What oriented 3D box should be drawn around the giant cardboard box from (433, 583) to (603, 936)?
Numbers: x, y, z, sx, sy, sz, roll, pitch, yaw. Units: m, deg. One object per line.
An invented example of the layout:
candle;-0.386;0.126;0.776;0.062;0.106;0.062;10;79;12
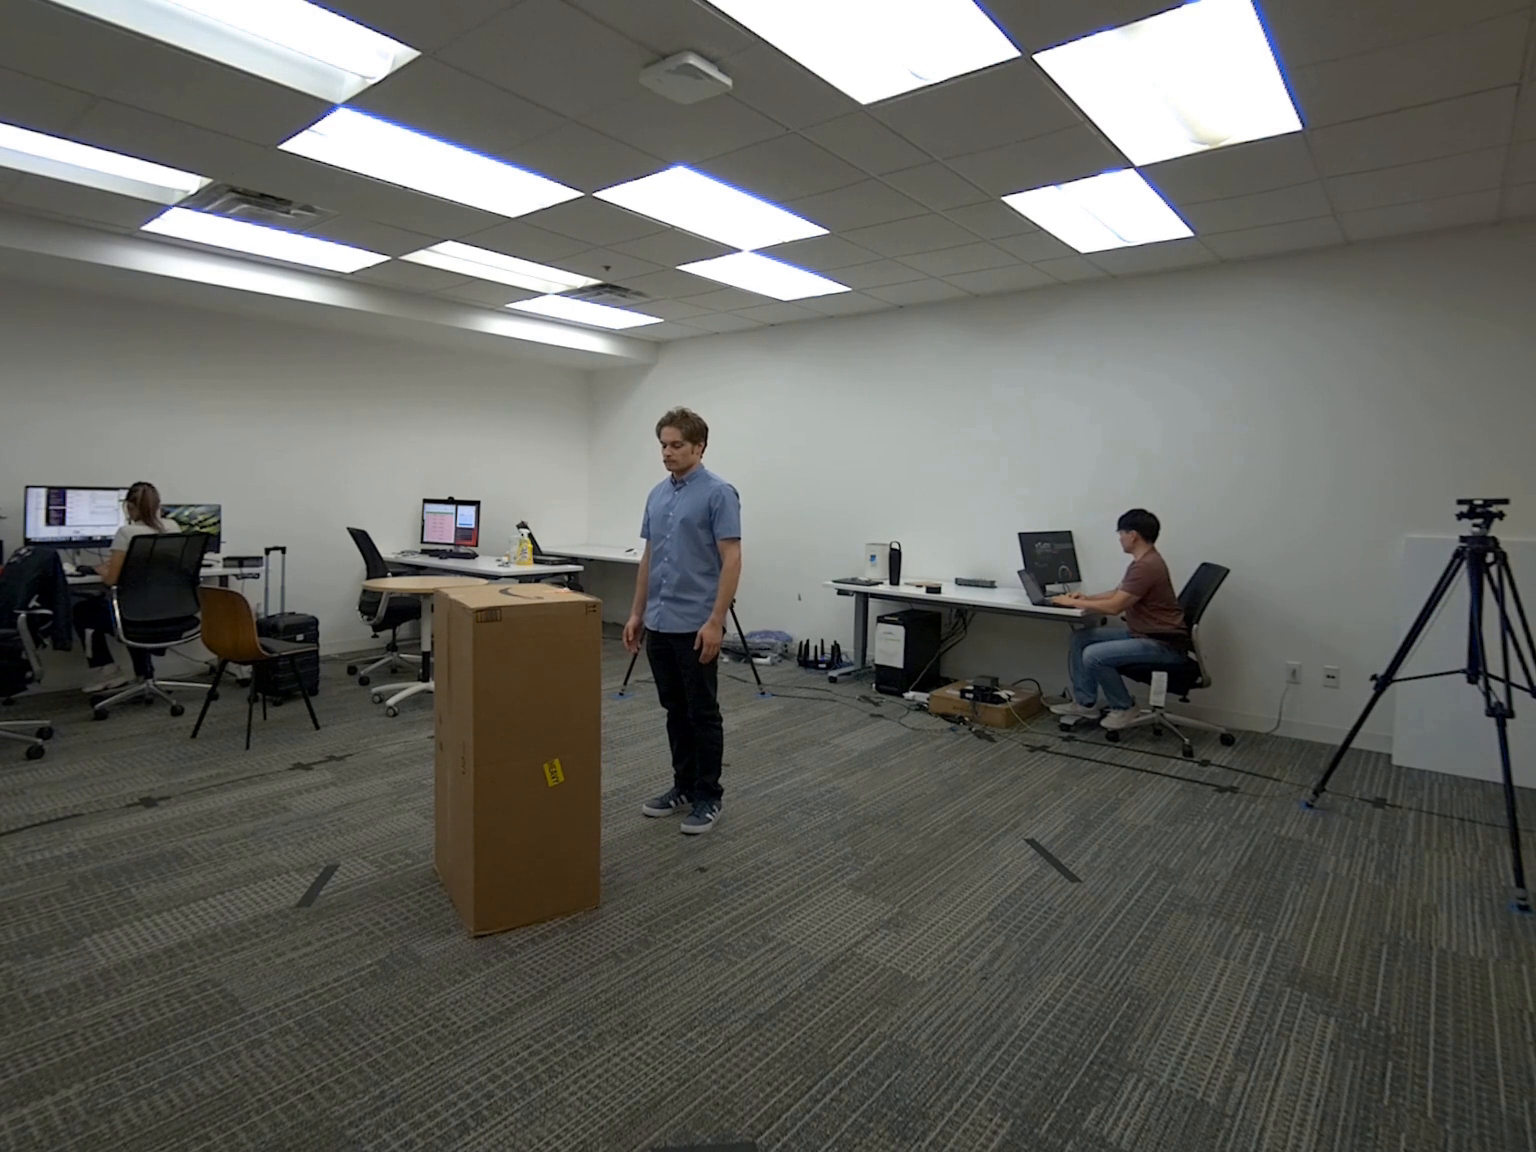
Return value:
giant cardboard box;-0.886;0.569;2.930;0.414;1.023;0.595;-1;4;-32
